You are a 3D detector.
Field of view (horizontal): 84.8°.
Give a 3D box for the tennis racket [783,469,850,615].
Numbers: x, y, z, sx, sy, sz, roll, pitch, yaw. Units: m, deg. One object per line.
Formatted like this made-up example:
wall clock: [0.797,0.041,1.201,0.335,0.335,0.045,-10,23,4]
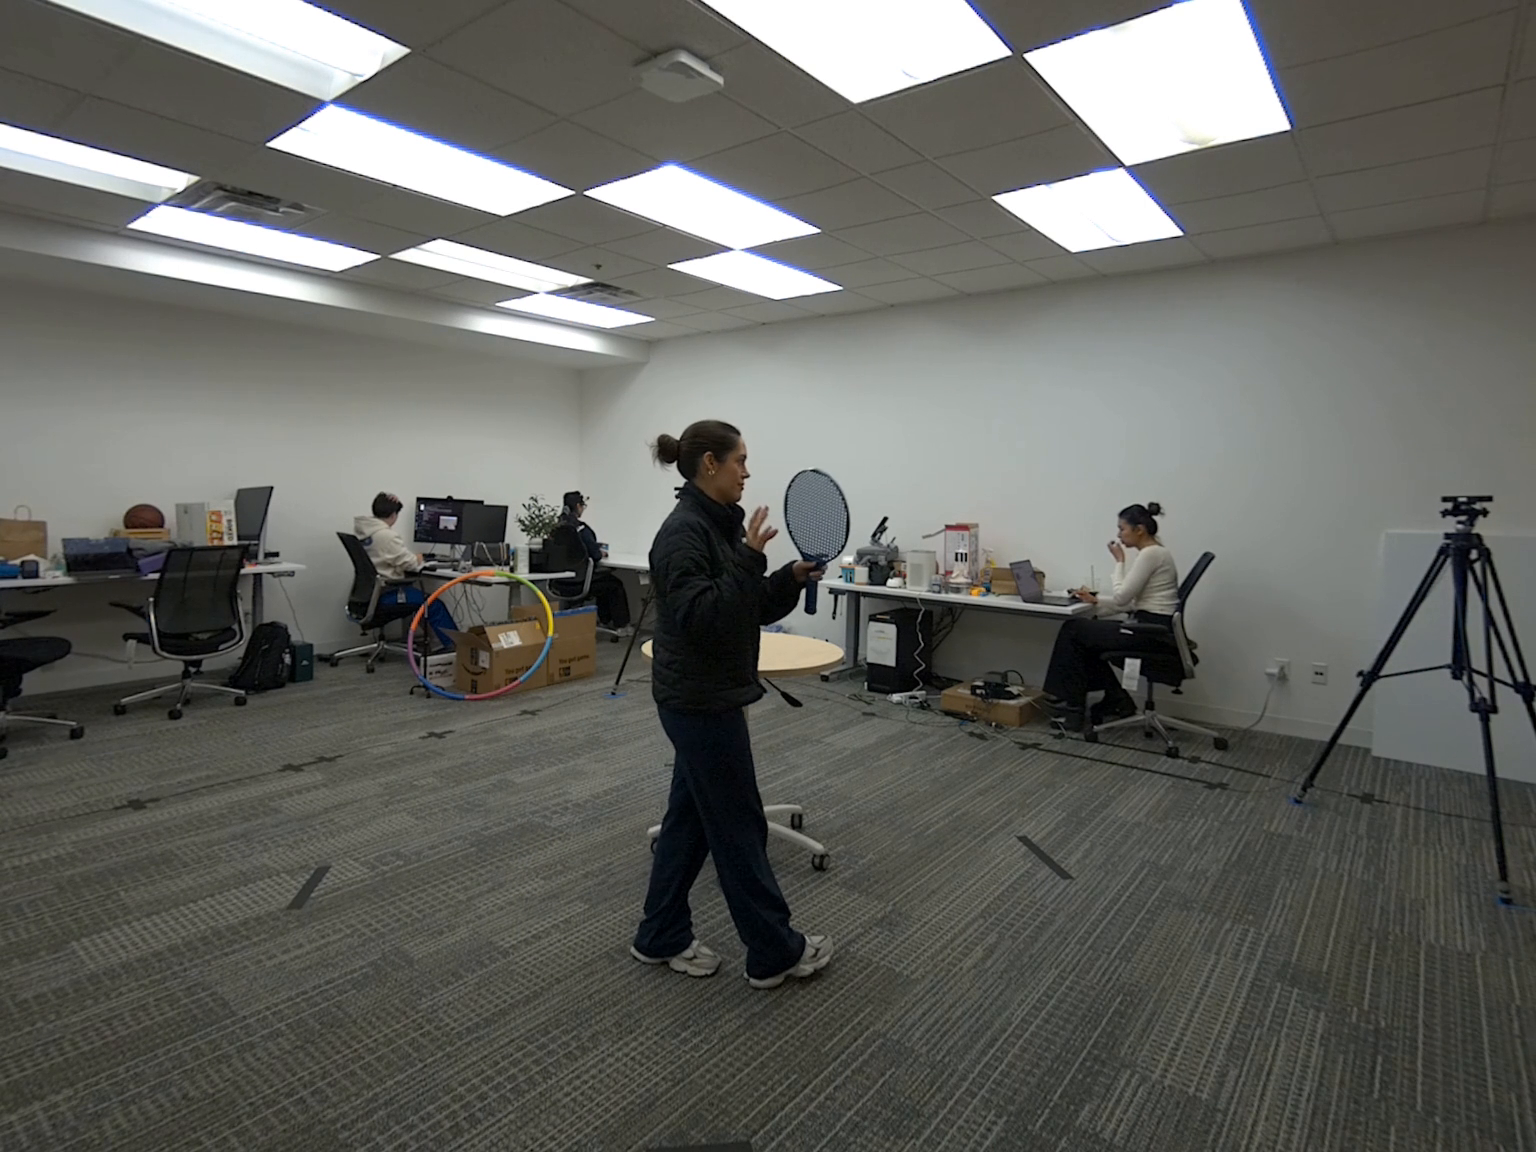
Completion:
tennis racket: [0.120,-0.084,2.300,0.222,0.421,0.031,18,36,36]
